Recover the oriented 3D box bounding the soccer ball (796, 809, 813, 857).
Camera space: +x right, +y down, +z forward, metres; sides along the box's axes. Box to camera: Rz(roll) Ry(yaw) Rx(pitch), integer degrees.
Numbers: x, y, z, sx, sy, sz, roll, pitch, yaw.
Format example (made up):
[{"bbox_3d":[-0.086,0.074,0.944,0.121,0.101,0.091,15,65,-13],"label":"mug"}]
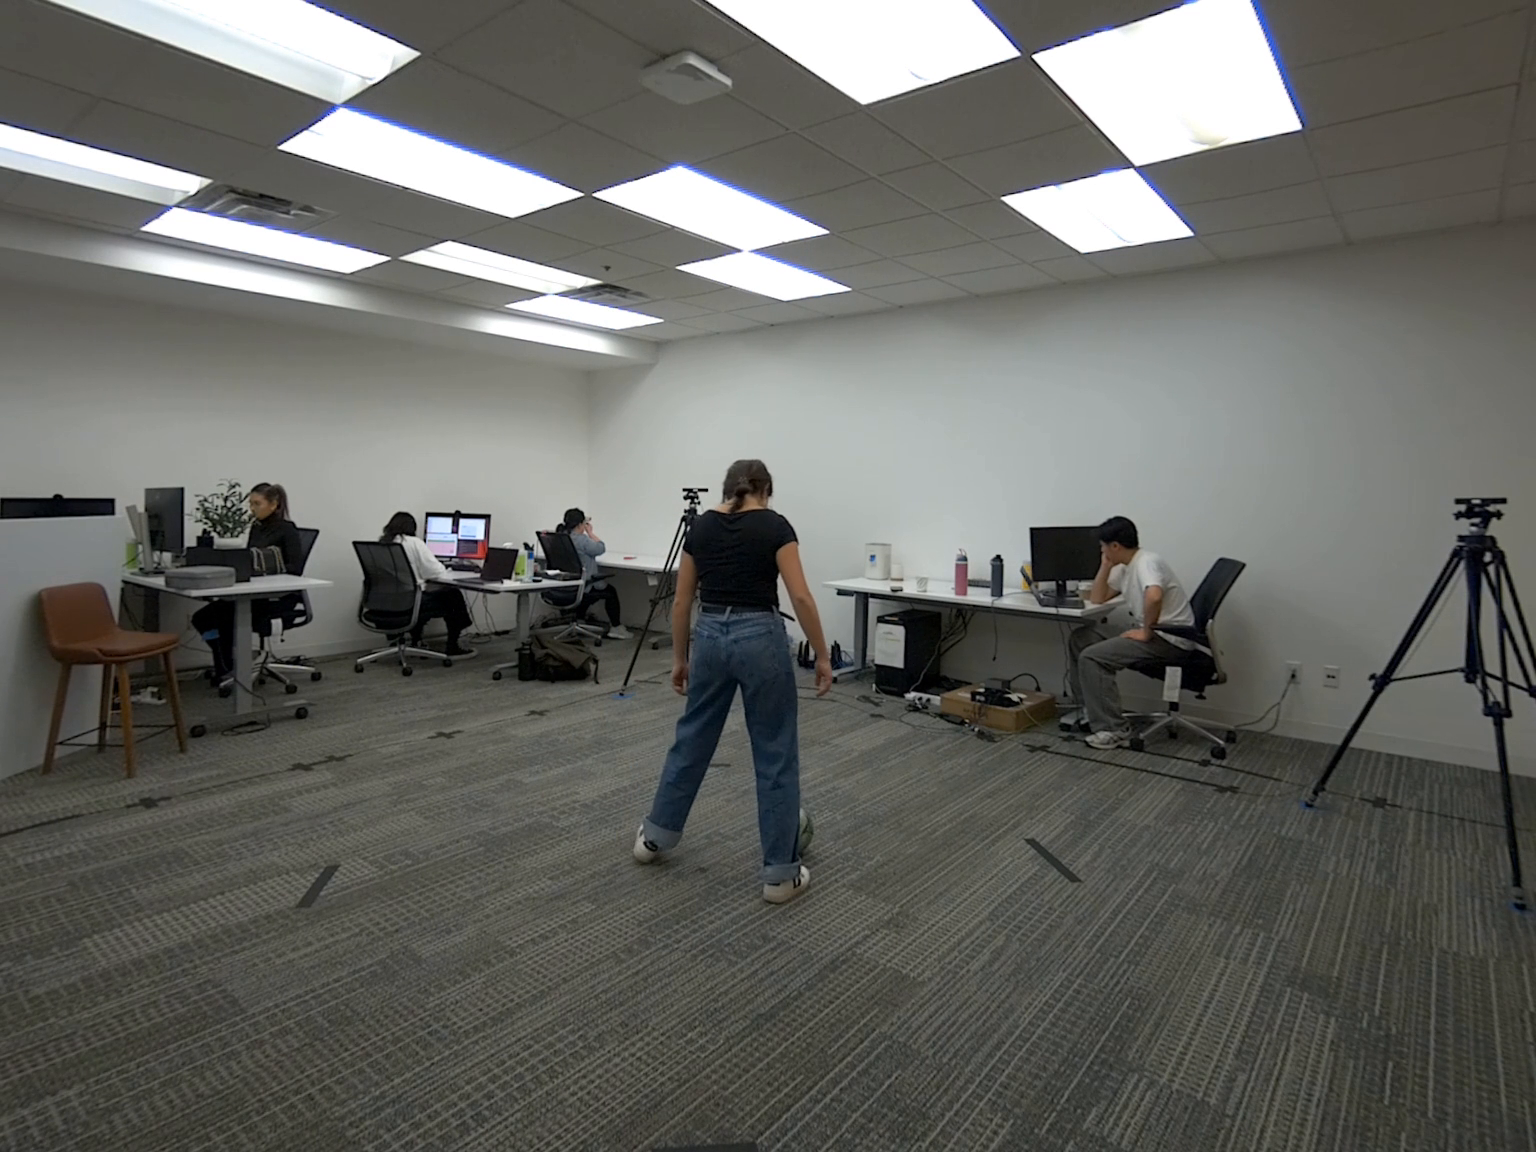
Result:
[{"bbox_3d":[0.089,0.957,3.252,0.187,0.187,0.188,1,4,-2],"label":"soccer ball"}]
